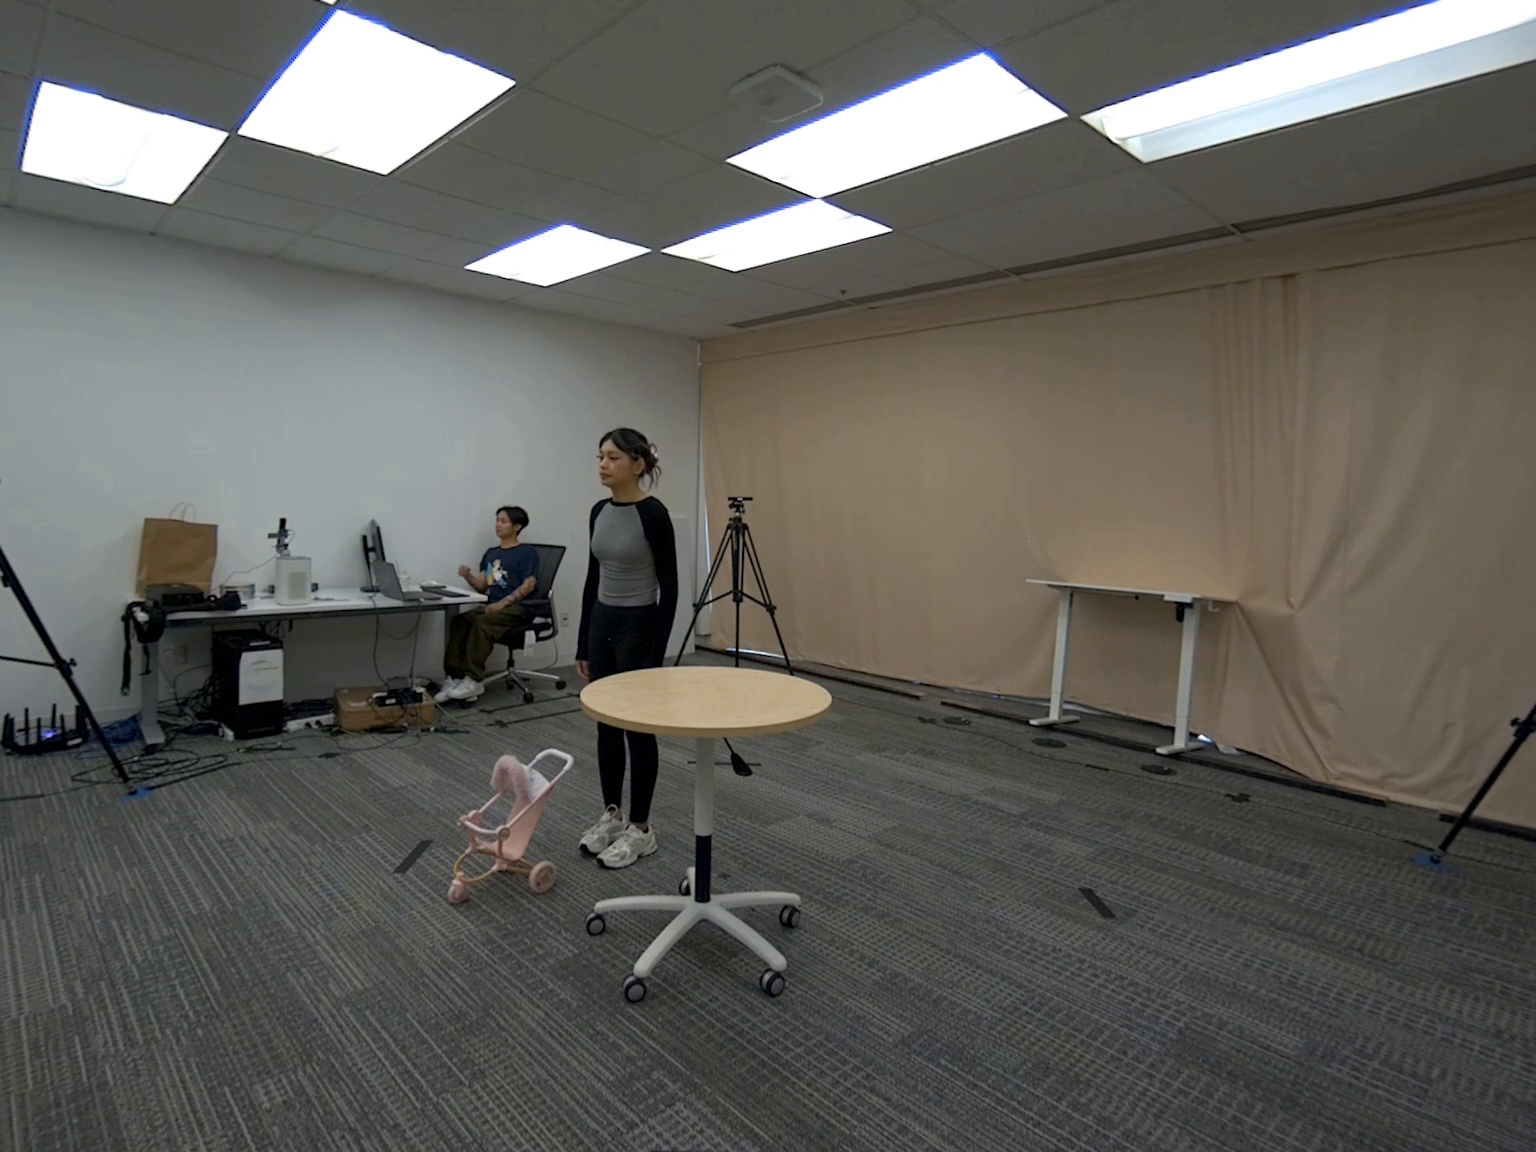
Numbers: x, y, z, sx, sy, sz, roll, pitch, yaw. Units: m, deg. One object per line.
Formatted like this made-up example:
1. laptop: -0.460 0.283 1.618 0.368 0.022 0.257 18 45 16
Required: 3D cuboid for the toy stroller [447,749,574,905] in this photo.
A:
1. toy stroller: -0.928 0.878 2.973 0.331 0.537 0.288 18 -8 -41
